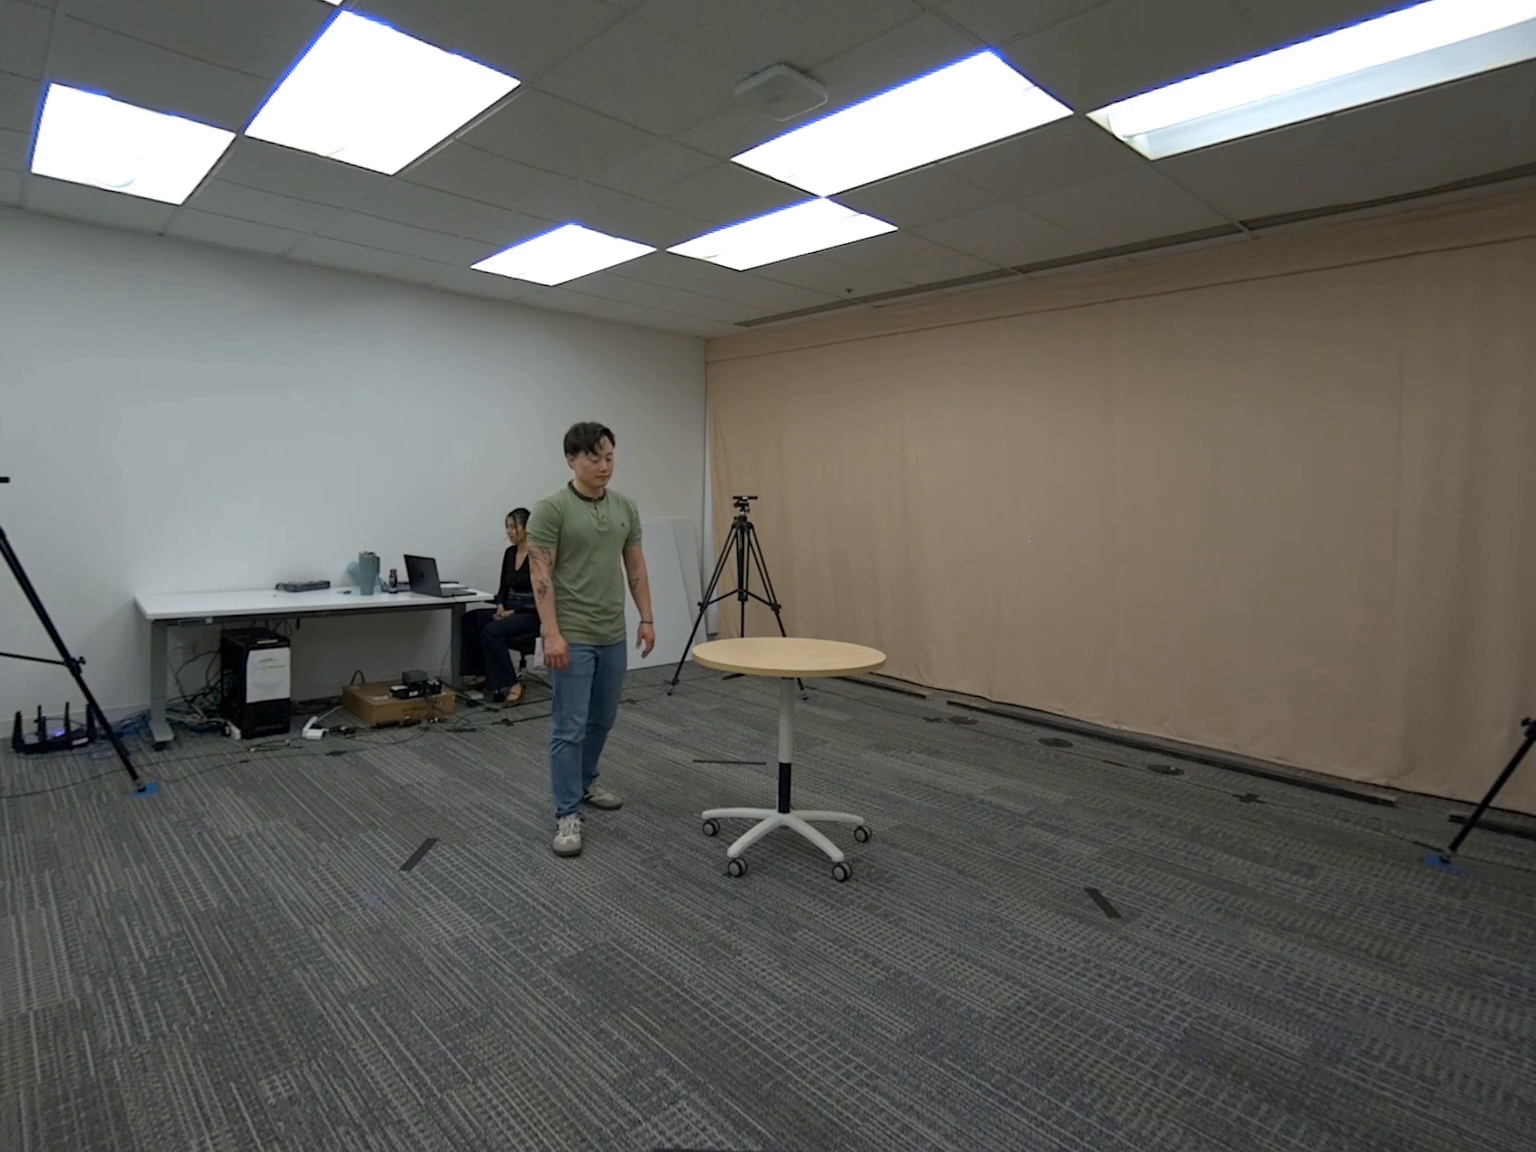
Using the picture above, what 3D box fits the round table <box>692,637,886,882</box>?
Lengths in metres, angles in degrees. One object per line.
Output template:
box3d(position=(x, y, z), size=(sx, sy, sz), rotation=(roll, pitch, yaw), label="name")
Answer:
box3d(position=(0.062, 0.696, 3.351), size=(0.763, 0.792, 0.766), rotation=(1, 3, -1), label="round table")
